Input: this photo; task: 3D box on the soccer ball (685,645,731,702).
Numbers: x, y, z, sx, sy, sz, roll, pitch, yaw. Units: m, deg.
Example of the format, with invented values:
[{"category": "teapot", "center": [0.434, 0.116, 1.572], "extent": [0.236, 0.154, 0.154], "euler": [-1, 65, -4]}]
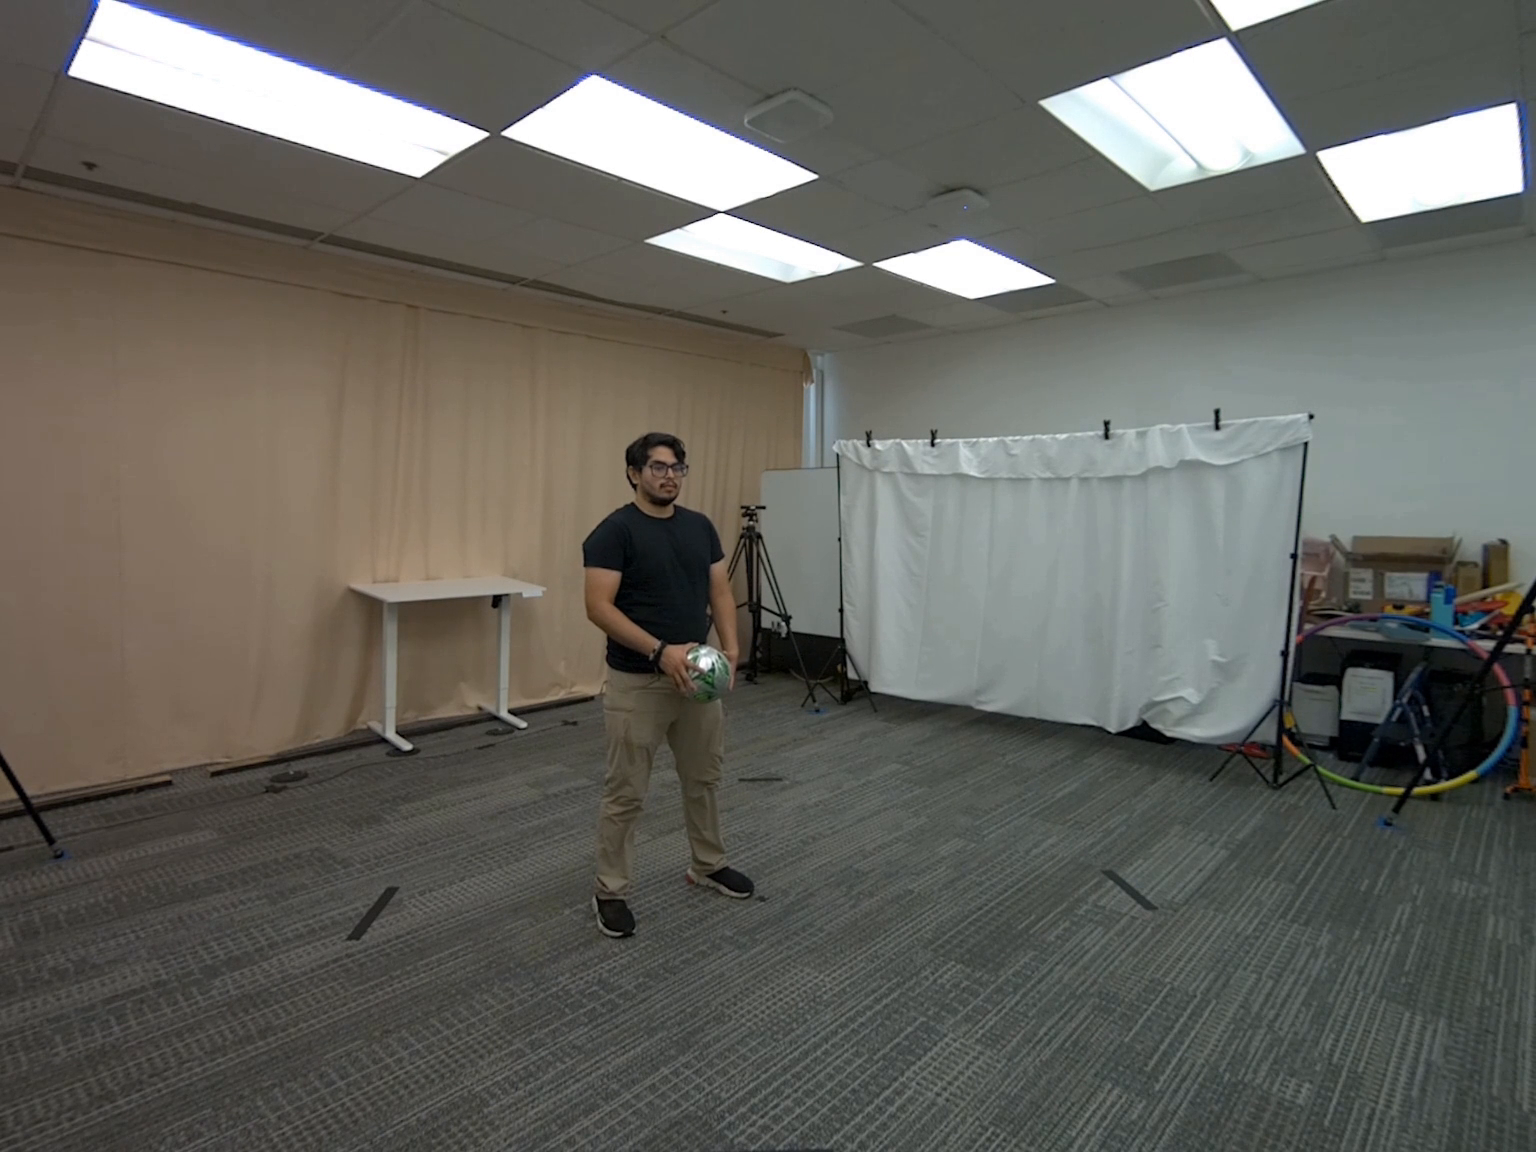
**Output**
[{"category": "soccer ball", "center": [-0.219, 0.305, 2.663], "extent": [0.187, 0.187, 0.188], "euler": [0, 4, -2]}]
